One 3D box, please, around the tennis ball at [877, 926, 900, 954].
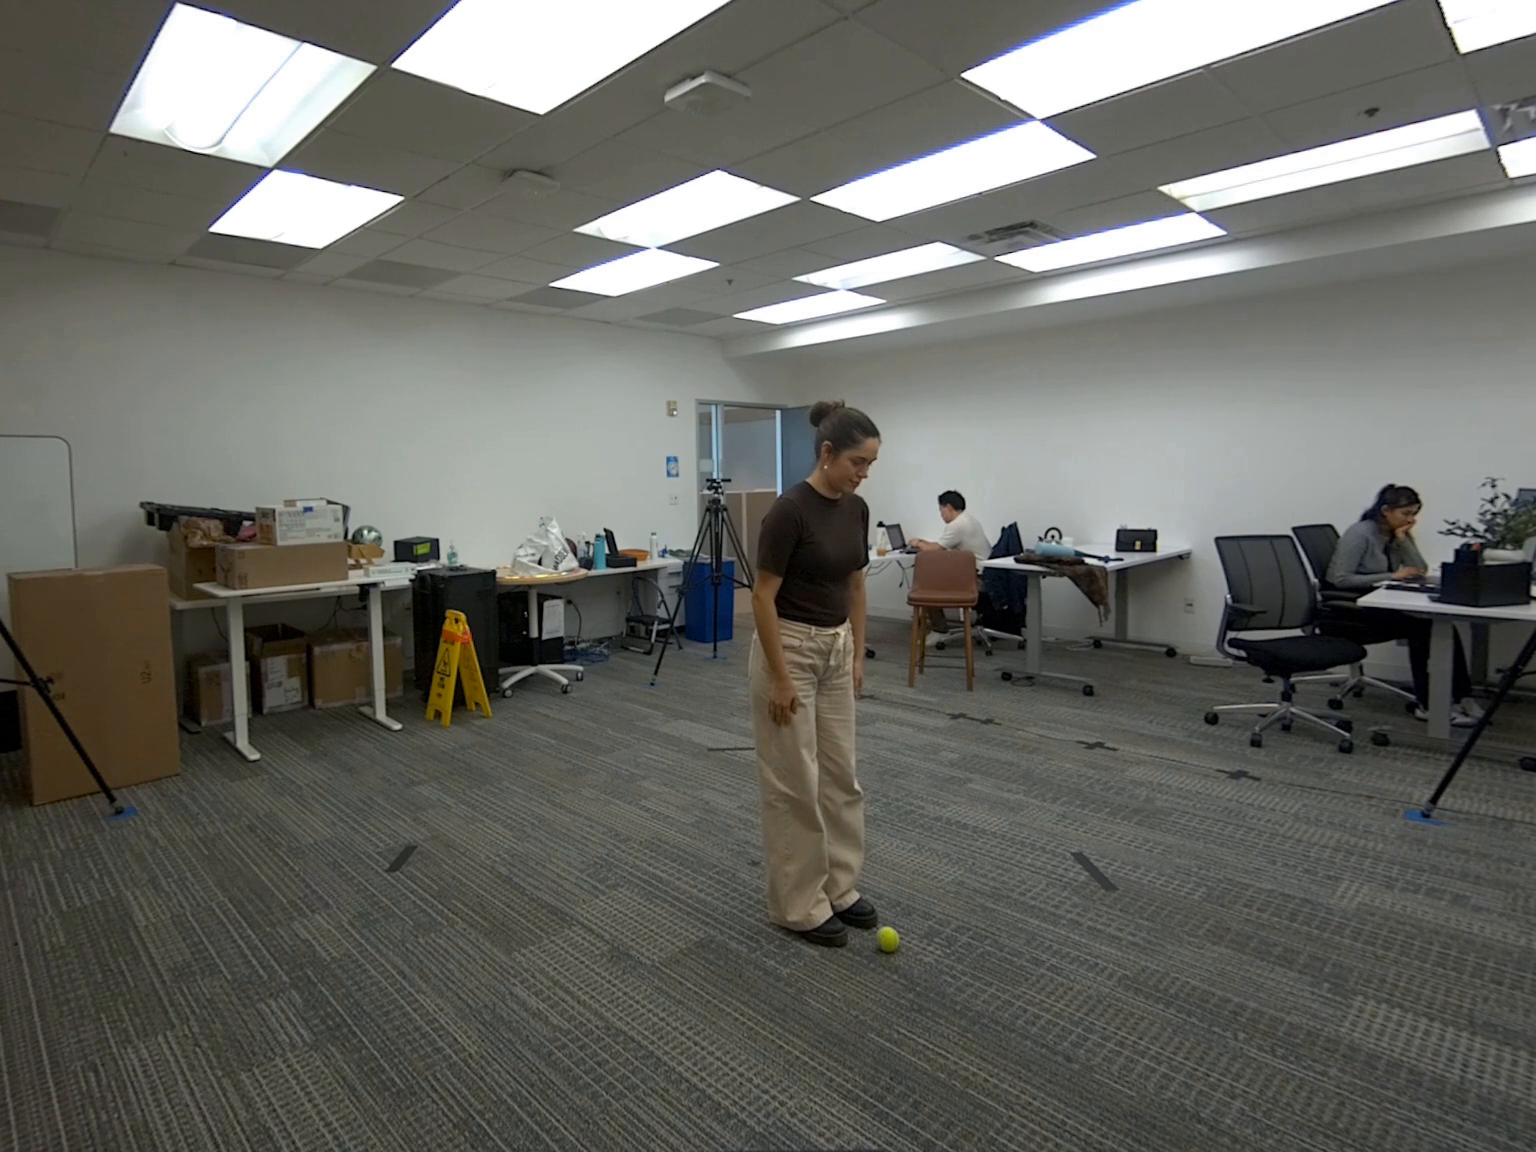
[{"bbox_3d":[0.347,1.043,2.528,0.066,0.066,0.067,-1,5,-2],"label":"tennis ball"}]
